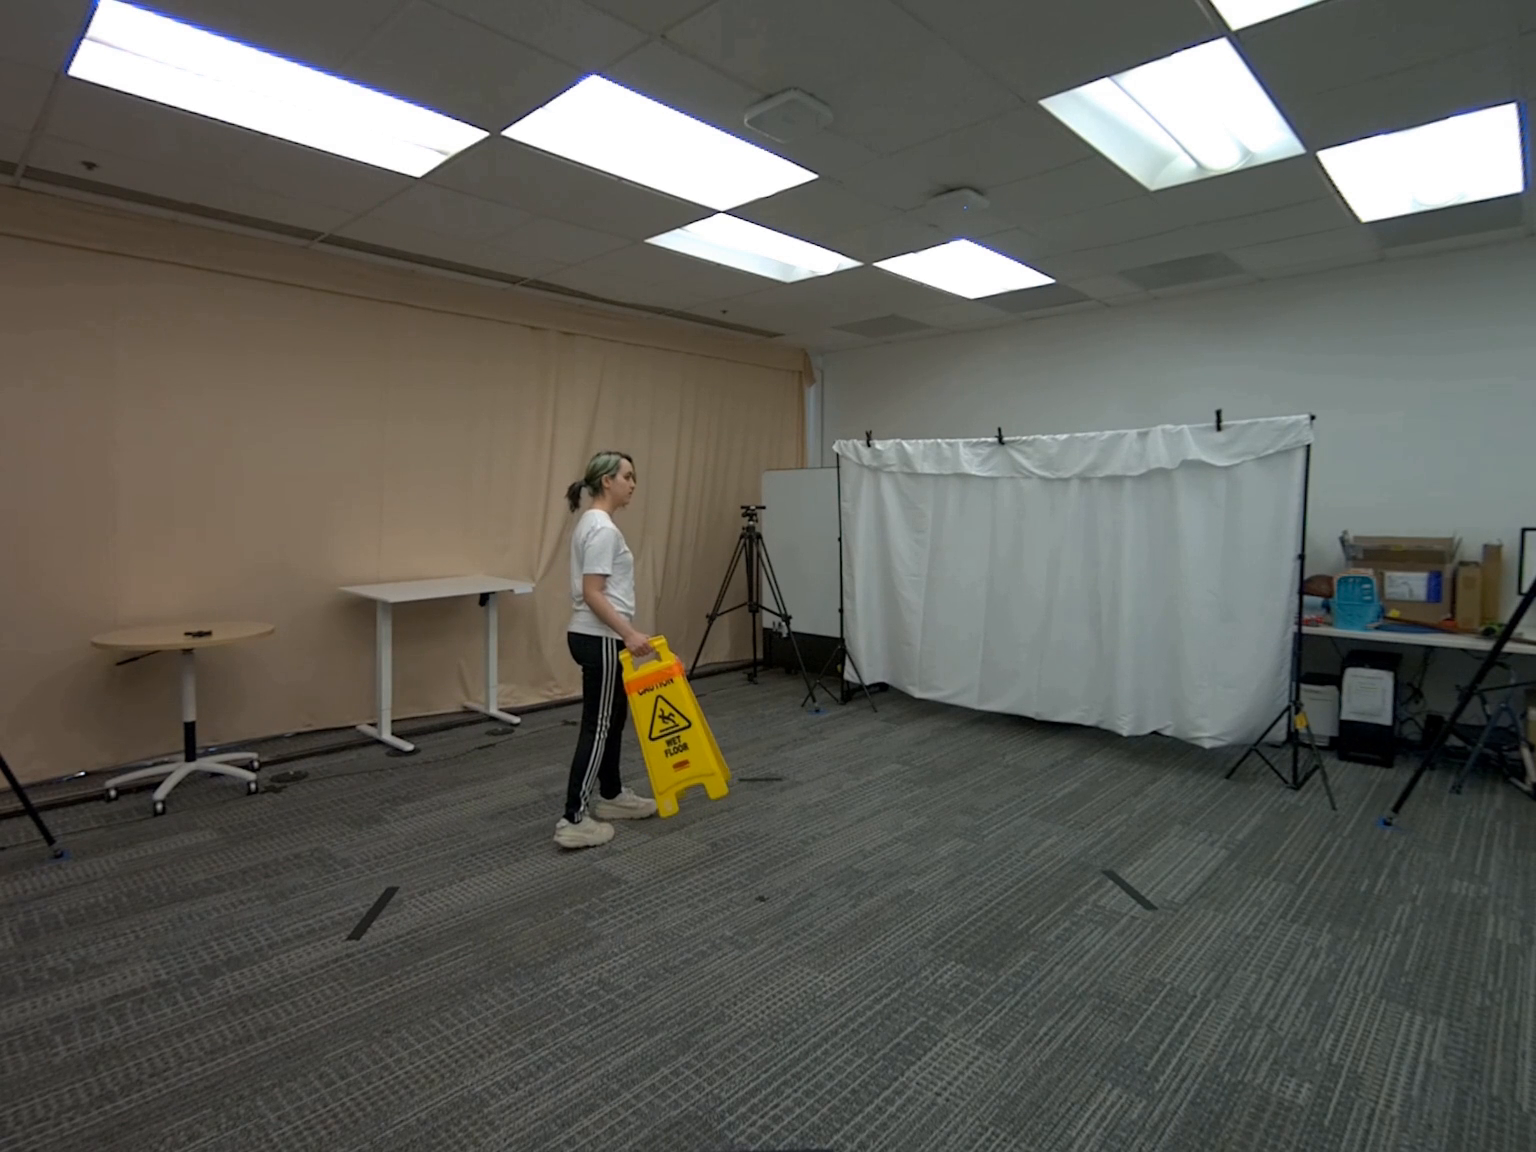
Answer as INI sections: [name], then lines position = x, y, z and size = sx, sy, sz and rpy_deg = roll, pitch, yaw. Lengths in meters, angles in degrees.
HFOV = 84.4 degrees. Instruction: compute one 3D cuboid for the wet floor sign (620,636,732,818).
[wet floor sign]
position = -0.395, 0.576, 3.352
size = 0.283, 0.648, 0.288
rpy_deg = -19, -3, 1
